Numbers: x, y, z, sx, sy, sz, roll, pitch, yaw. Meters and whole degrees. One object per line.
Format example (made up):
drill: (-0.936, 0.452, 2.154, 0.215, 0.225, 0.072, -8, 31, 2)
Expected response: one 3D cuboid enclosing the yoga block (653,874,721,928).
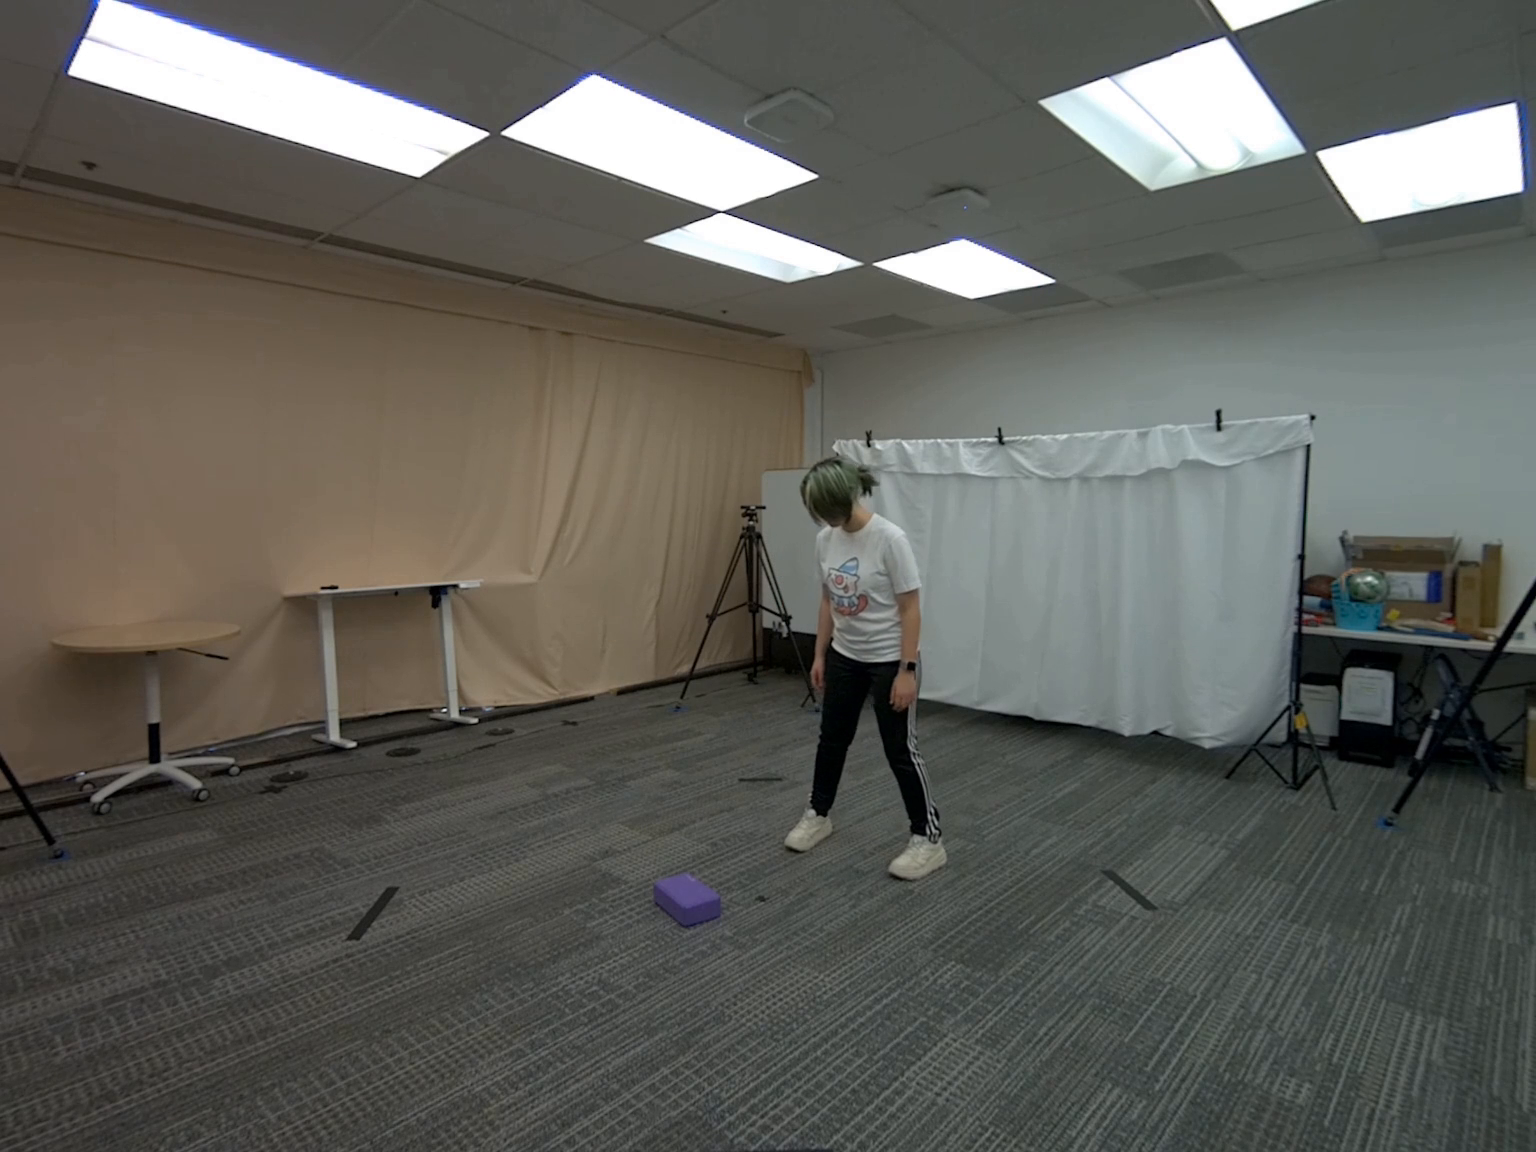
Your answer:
yoga block: (-0.280, 1.113, 2.903, 0.145, 0.076, 0.236, -5, 7, -33)
